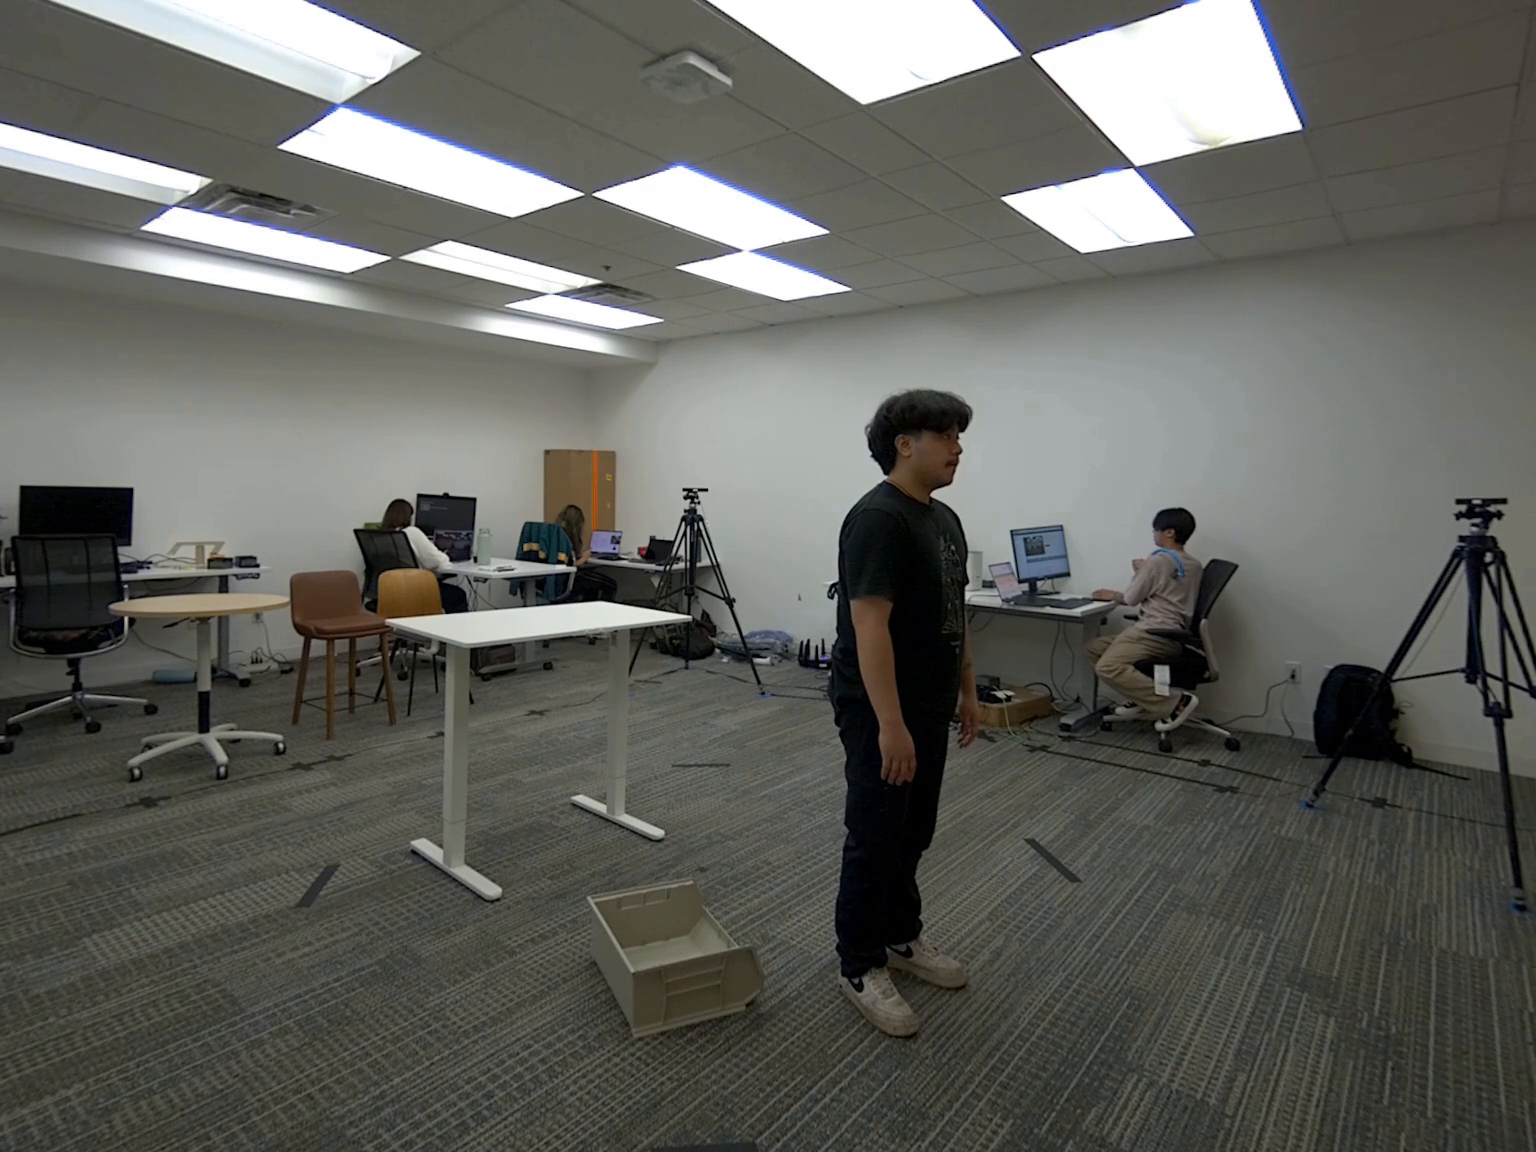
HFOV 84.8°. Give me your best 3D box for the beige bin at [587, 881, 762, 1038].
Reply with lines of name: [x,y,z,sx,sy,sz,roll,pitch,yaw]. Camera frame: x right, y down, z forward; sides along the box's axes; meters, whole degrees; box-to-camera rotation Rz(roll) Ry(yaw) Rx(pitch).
beige bin: [-0.276,1.051,2.399,0.368,0.188,0.435,-2,7,-26]
